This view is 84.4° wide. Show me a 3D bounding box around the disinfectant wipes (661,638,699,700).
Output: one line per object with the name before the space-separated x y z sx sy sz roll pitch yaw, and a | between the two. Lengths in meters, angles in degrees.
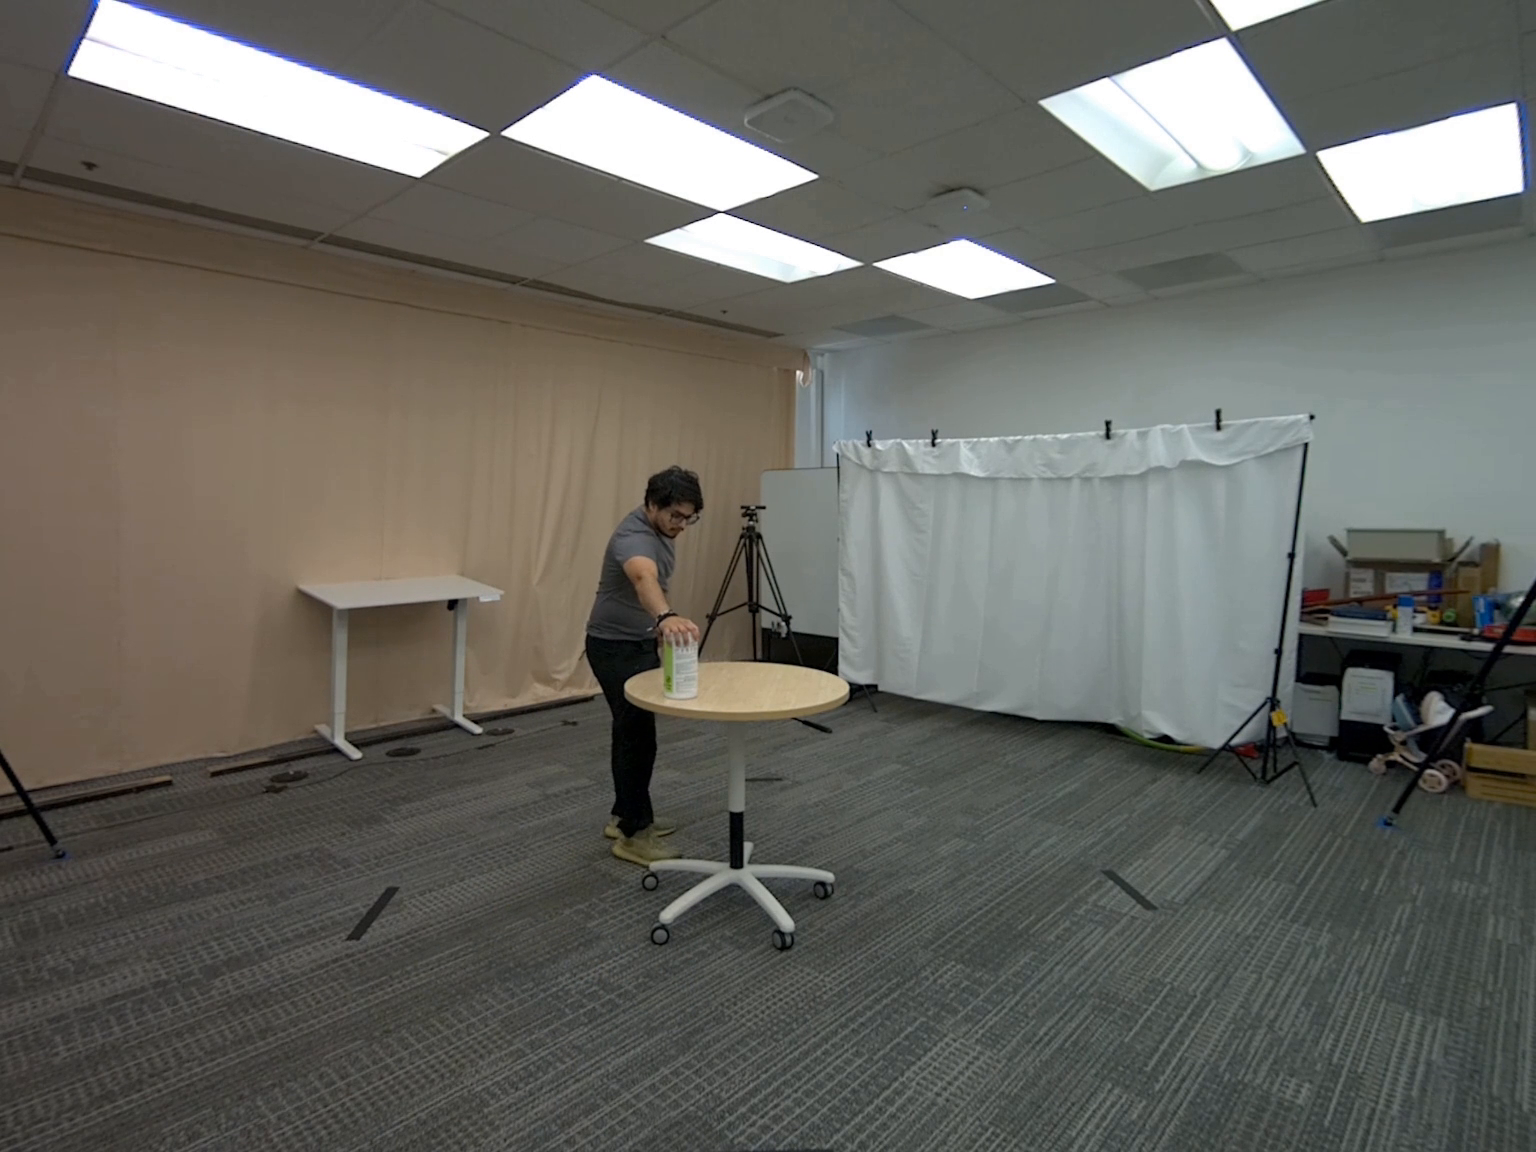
disinfectant wipes | -0.277 0.280 2.699 0.118 0.217 0.118 -1 2 -2
